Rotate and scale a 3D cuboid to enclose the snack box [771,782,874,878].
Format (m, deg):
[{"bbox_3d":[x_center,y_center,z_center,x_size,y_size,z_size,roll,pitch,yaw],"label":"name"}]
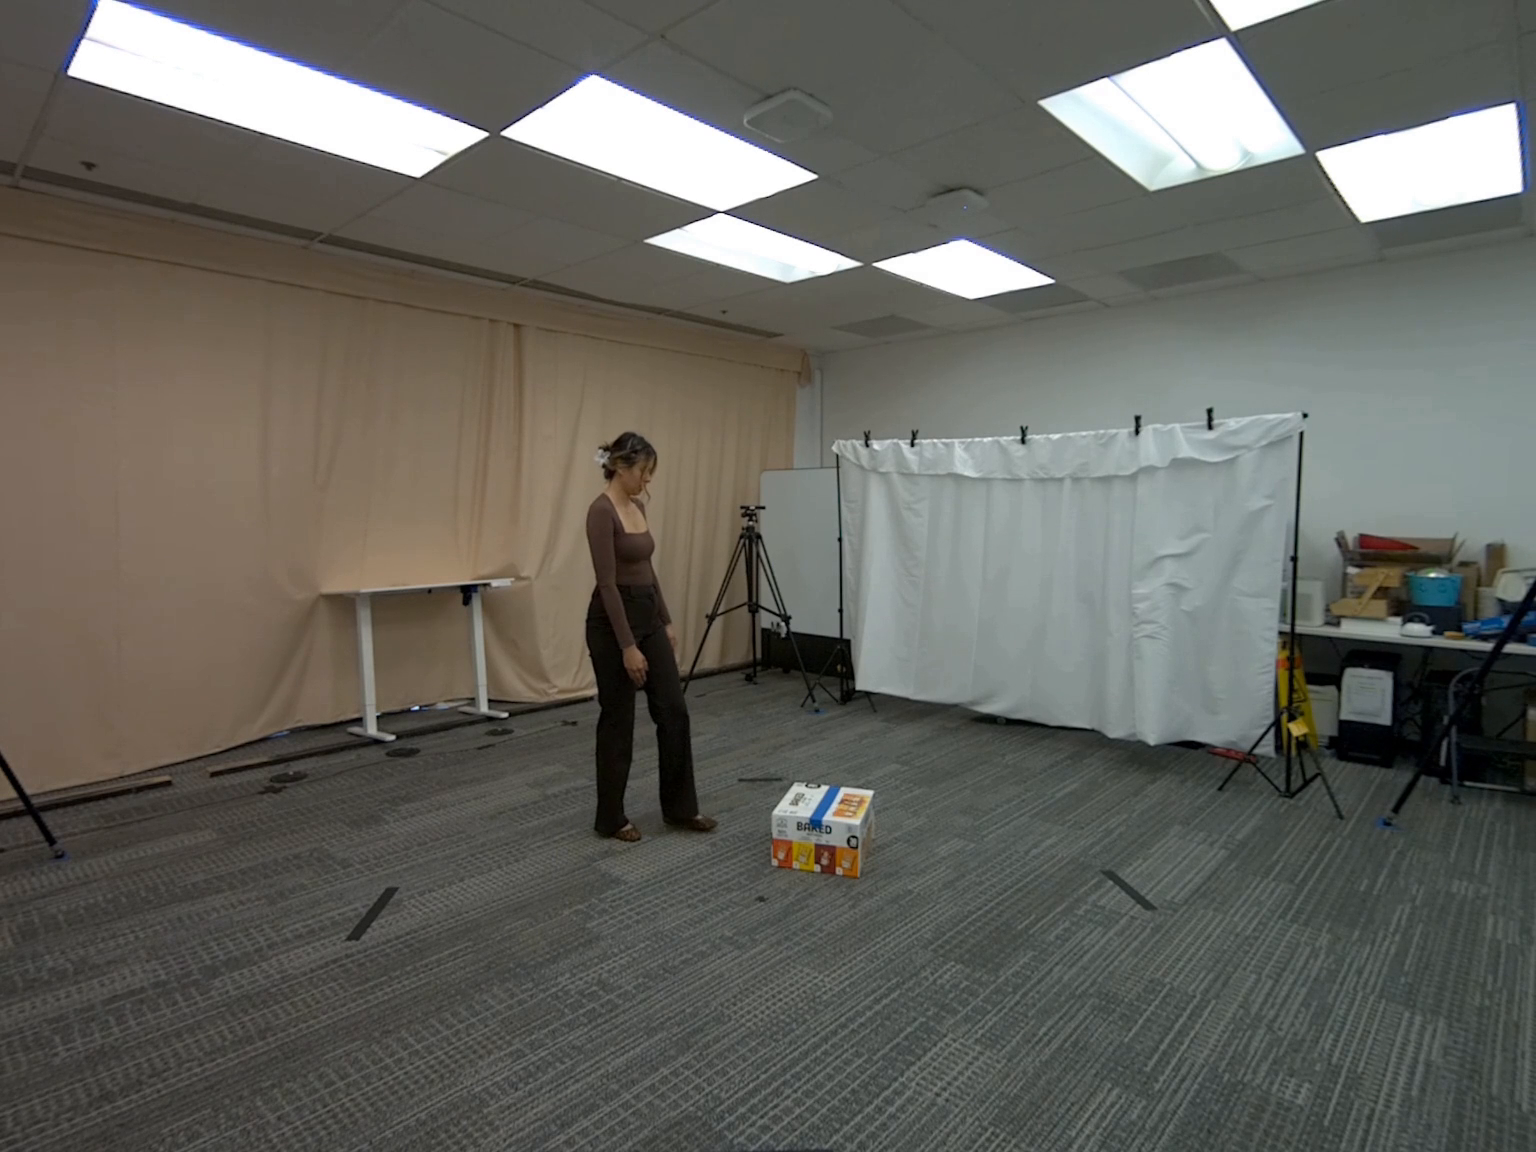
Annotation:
[{"bbox_3d":[0.232,1.007,3.382,0.347,0.205,0.398,1,5,17],"label":"snack box"}]
